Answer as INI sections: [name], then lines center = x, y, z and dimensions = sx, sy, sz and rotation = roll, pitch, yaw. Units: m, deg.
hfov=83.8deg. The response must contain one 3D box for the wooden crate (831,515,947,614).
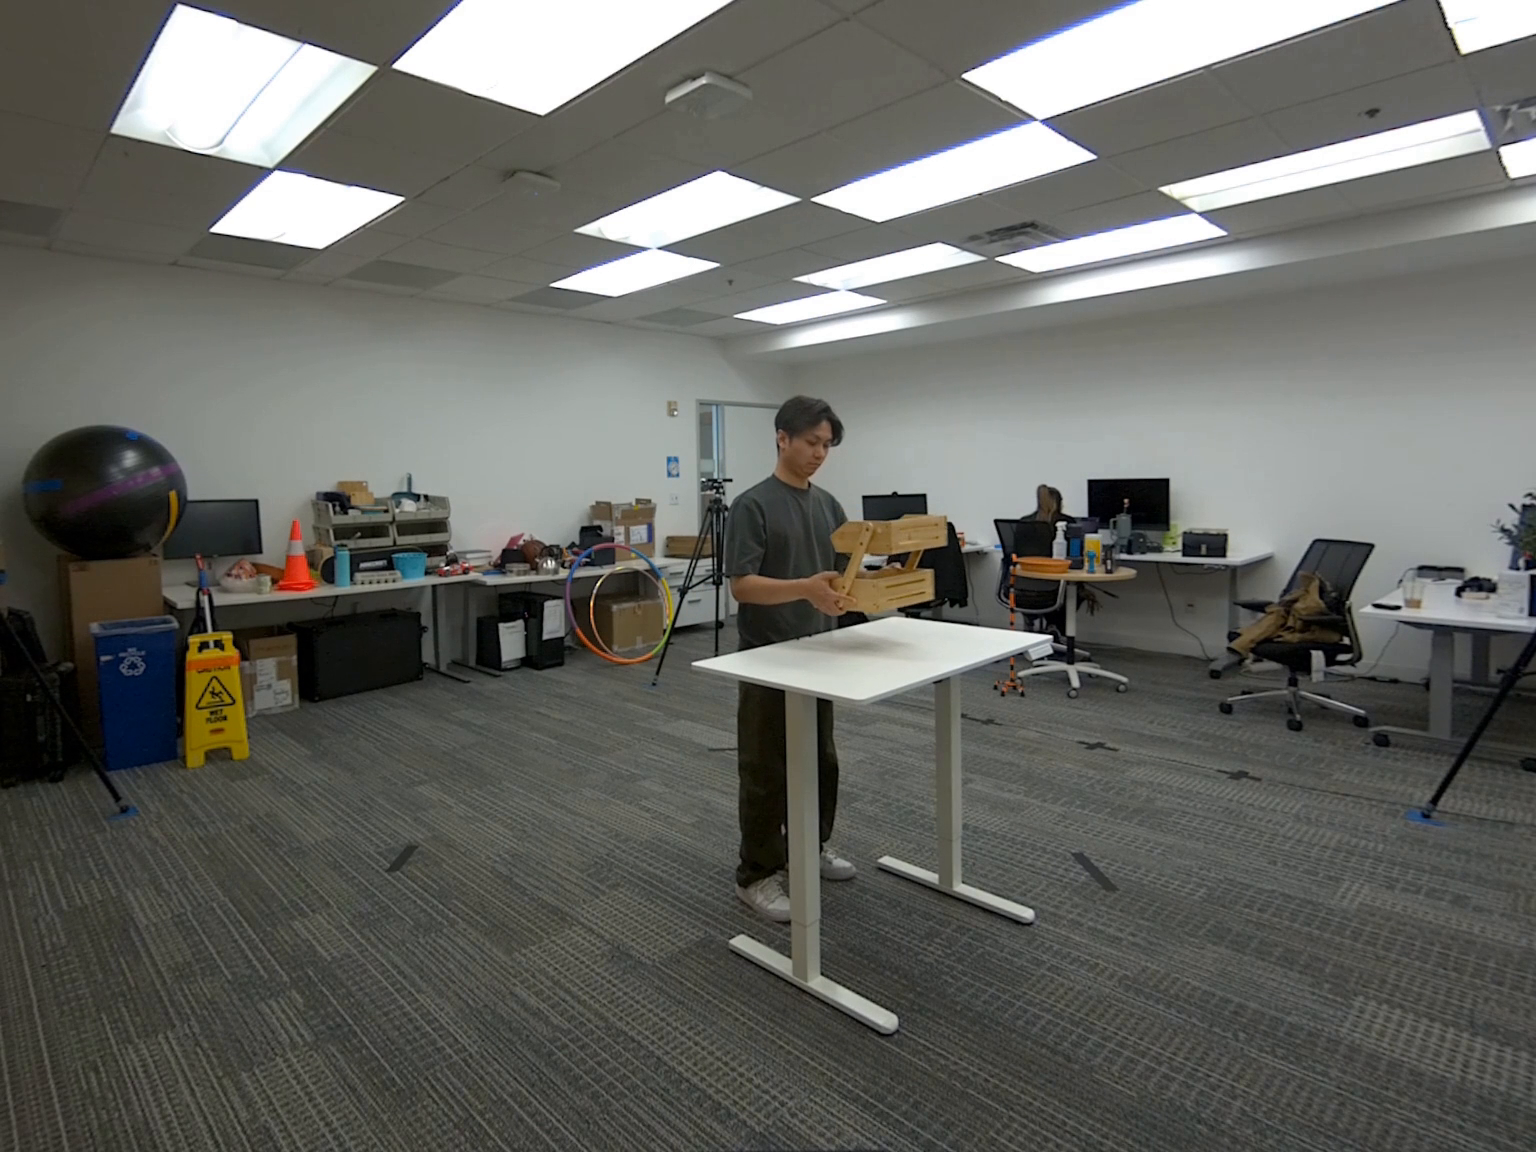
[wooden crate]
center = 0.331, -0.047, 2.579
dimensions = 0.311, 0.272, 0.316
rotation = 3, 7, 44
